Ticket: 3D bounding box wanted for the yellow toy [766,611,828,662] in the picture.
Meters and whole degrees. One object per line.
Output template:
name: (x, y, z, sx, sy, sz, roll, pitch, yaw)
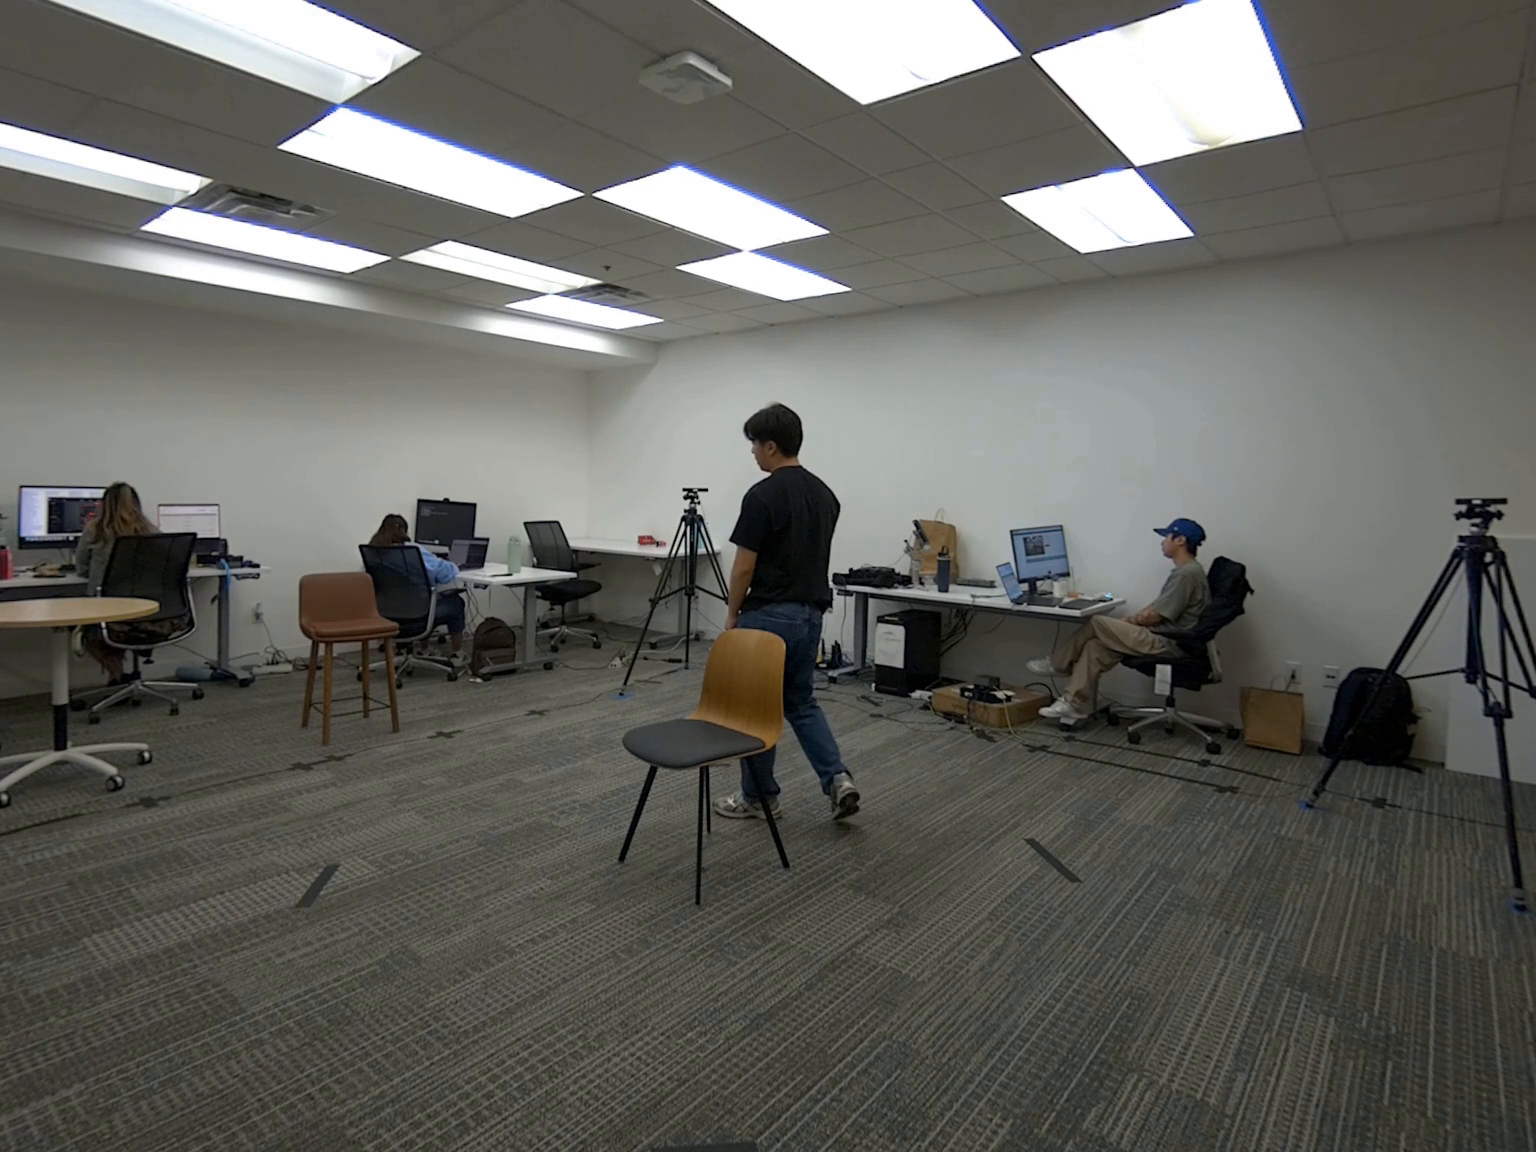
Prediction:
yellow toy: (0.132, 0.267, 3.908, 0.211, 0.230, 0.187, 4, 3, 35)
